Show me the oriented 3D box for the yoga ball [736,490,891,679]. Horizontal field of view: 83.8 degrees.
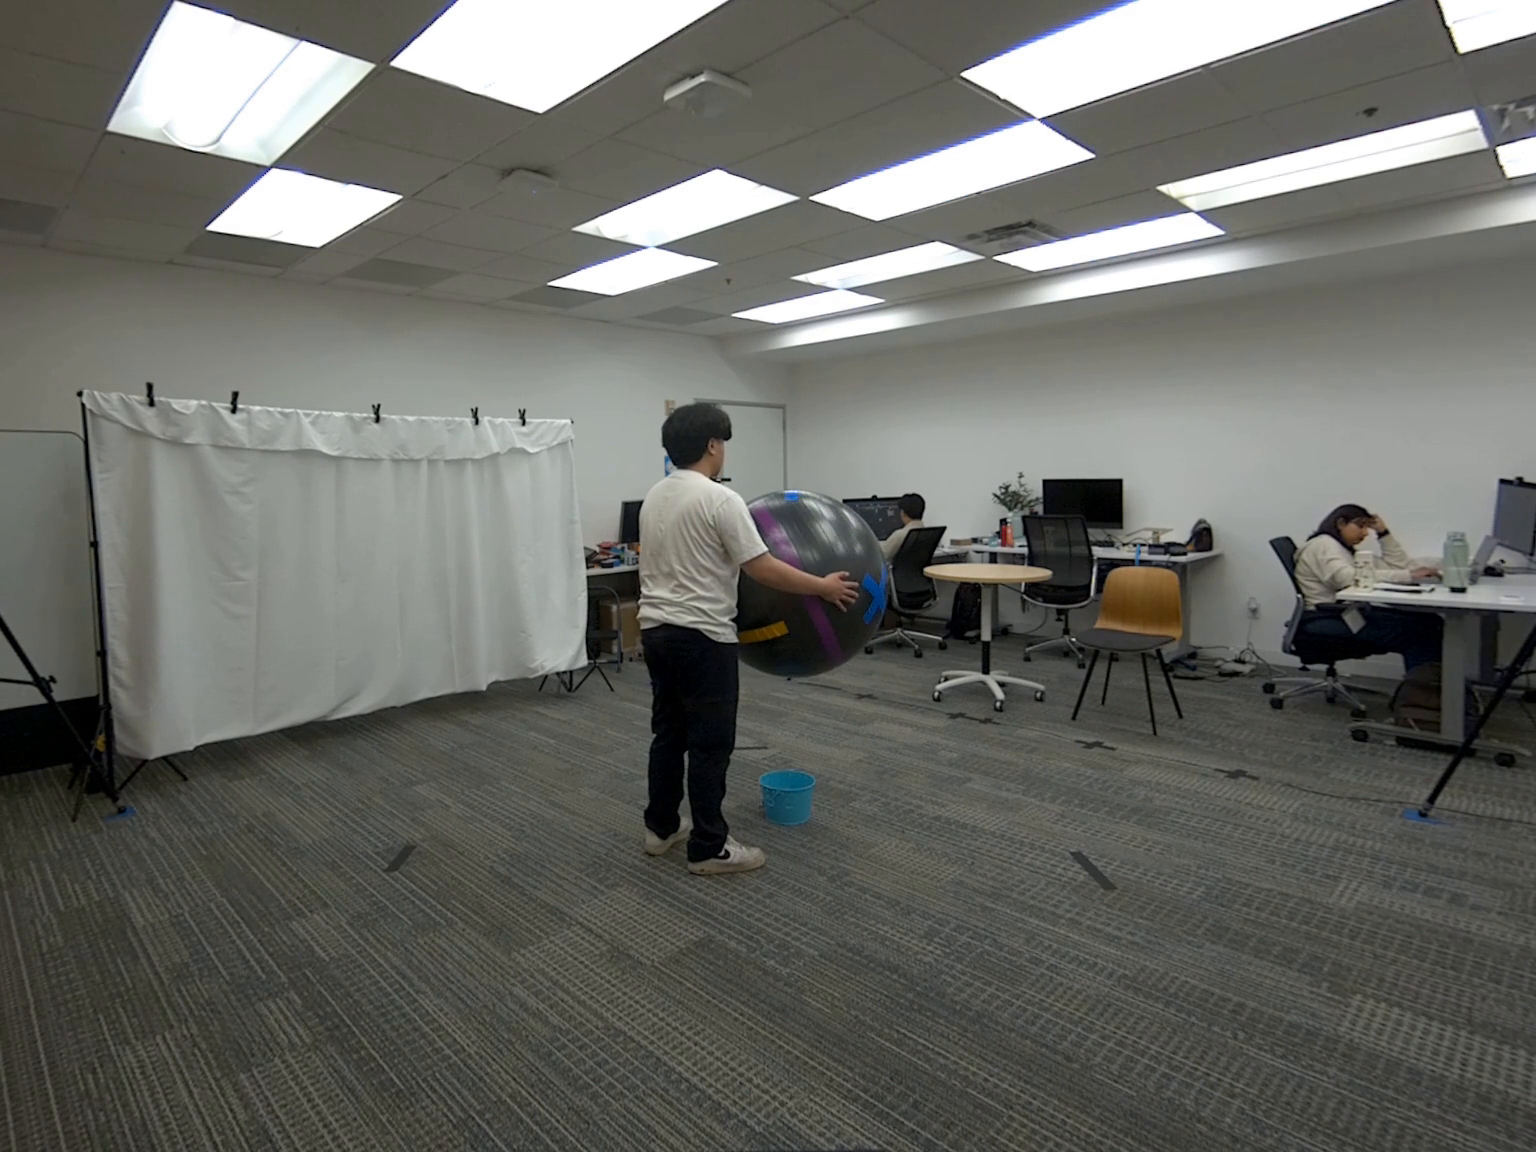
[{"bbox_3d":[0.113,0.031,3.480,0.757,0.755,0.762,-1,5,-2],"label":"yoga ball"}]
